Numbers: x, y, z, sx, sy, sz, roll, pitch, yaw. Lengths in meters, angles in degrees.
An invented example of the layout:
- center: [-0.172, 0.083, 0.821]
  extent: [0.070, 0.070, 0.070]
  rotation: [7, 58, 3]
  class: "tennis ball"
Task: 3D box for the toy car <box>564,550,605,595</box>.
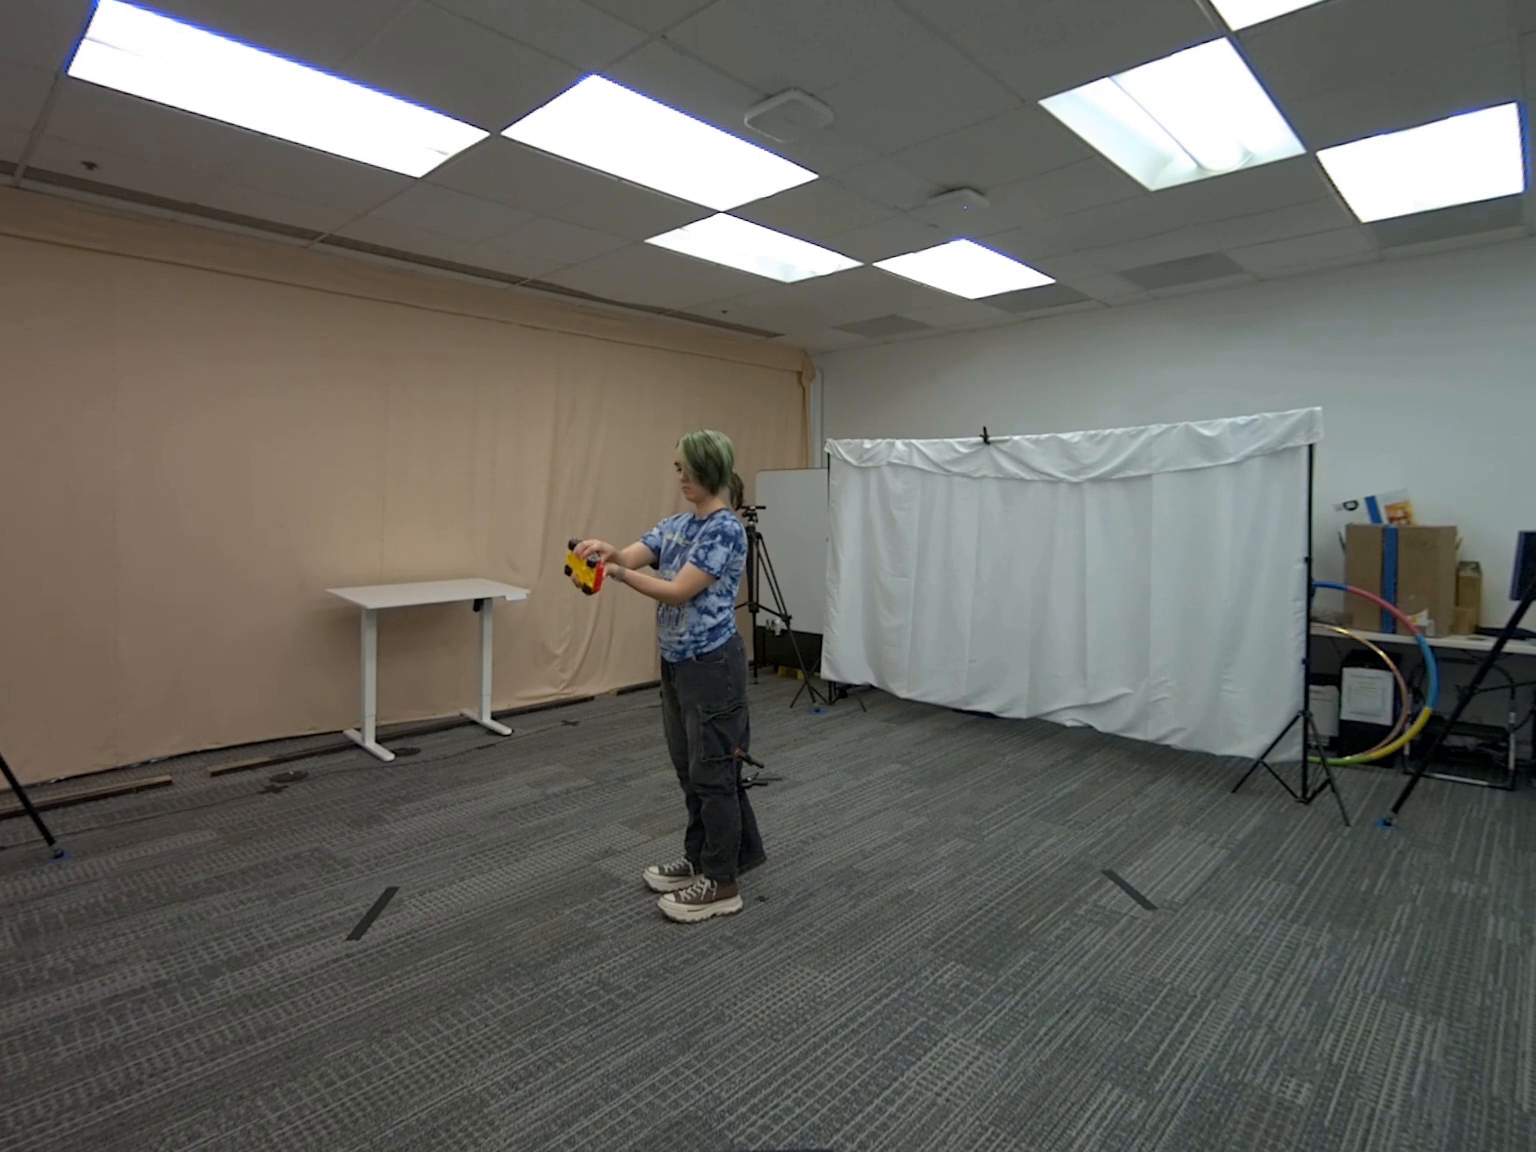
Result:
- center: [-0.587, -0.037, 2.672]
  extent: [0.081, 0.129, 0.262]
  rotation: [4, 19, -25]
  class: "toy car"
